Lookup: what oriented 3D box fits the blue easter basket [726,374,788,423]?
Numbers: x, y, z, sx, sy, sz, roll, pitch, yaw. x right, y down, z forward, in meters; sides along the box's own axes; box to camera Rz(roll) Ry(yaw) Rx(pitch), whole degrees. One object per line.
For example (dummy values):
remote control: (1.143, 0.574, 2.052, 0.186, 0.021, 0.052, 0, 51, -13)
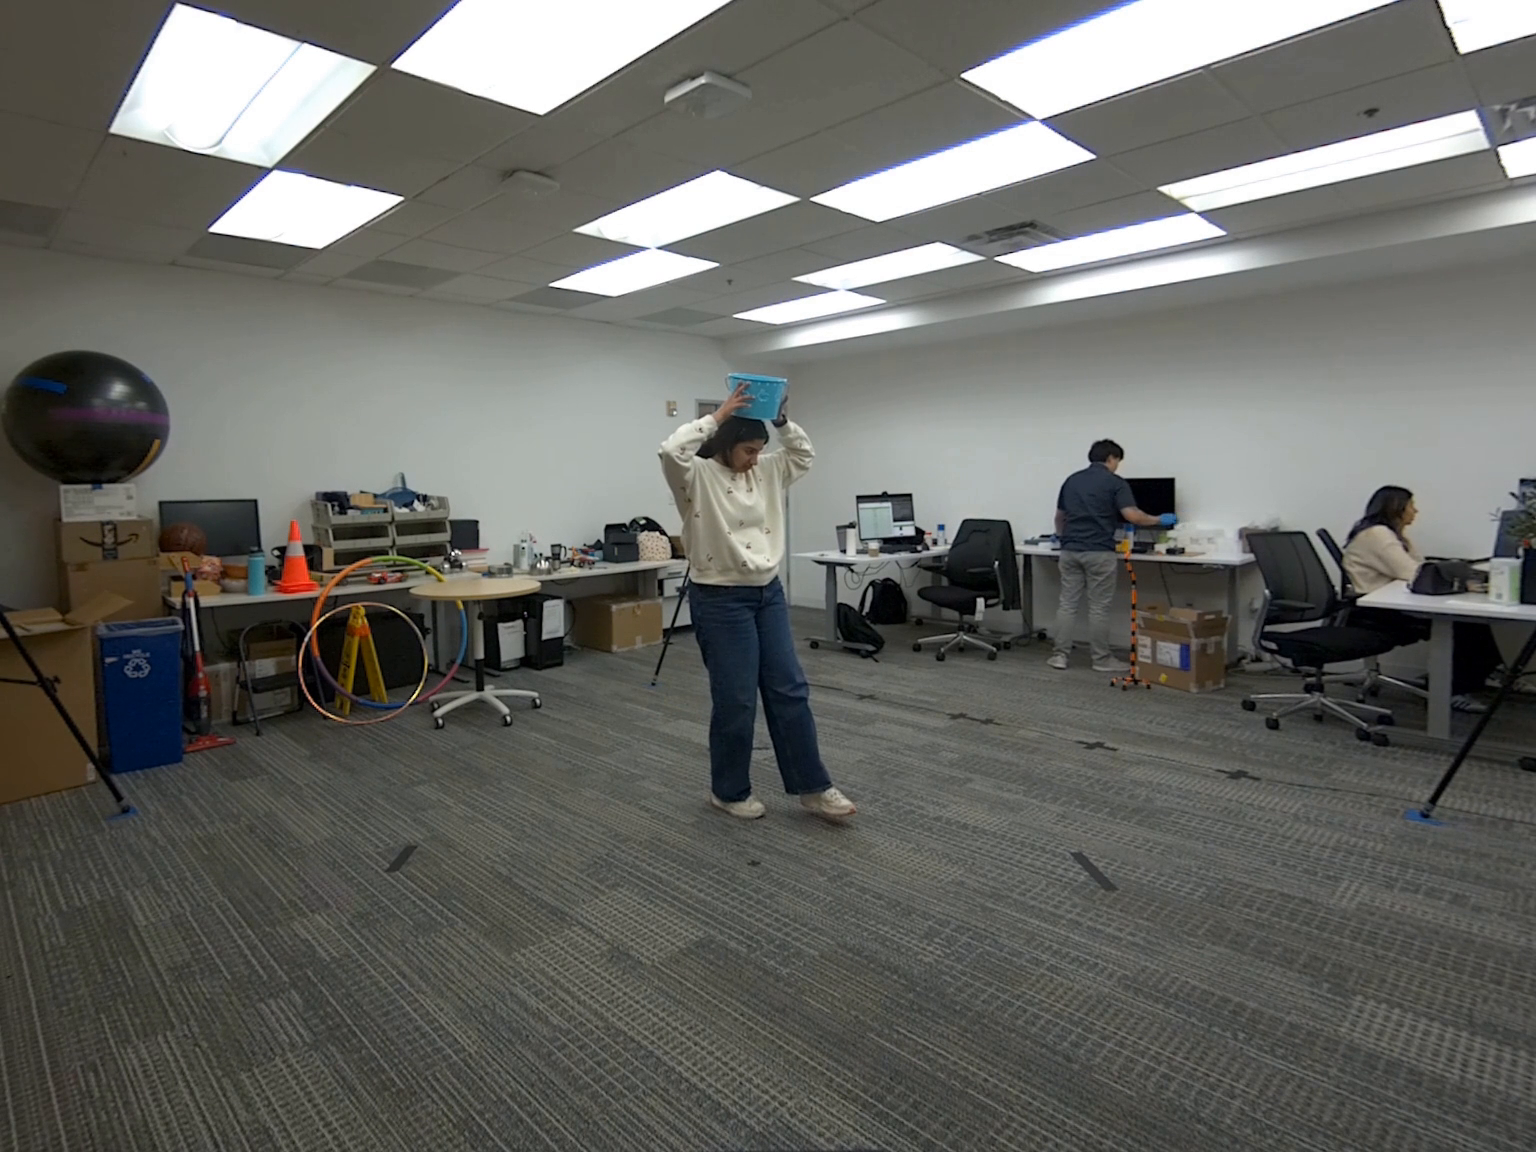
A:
blue easter basket: (-0.040, -0.705, 3.356, 0.243, 0.154, 0.247, 6, 18, -3)
